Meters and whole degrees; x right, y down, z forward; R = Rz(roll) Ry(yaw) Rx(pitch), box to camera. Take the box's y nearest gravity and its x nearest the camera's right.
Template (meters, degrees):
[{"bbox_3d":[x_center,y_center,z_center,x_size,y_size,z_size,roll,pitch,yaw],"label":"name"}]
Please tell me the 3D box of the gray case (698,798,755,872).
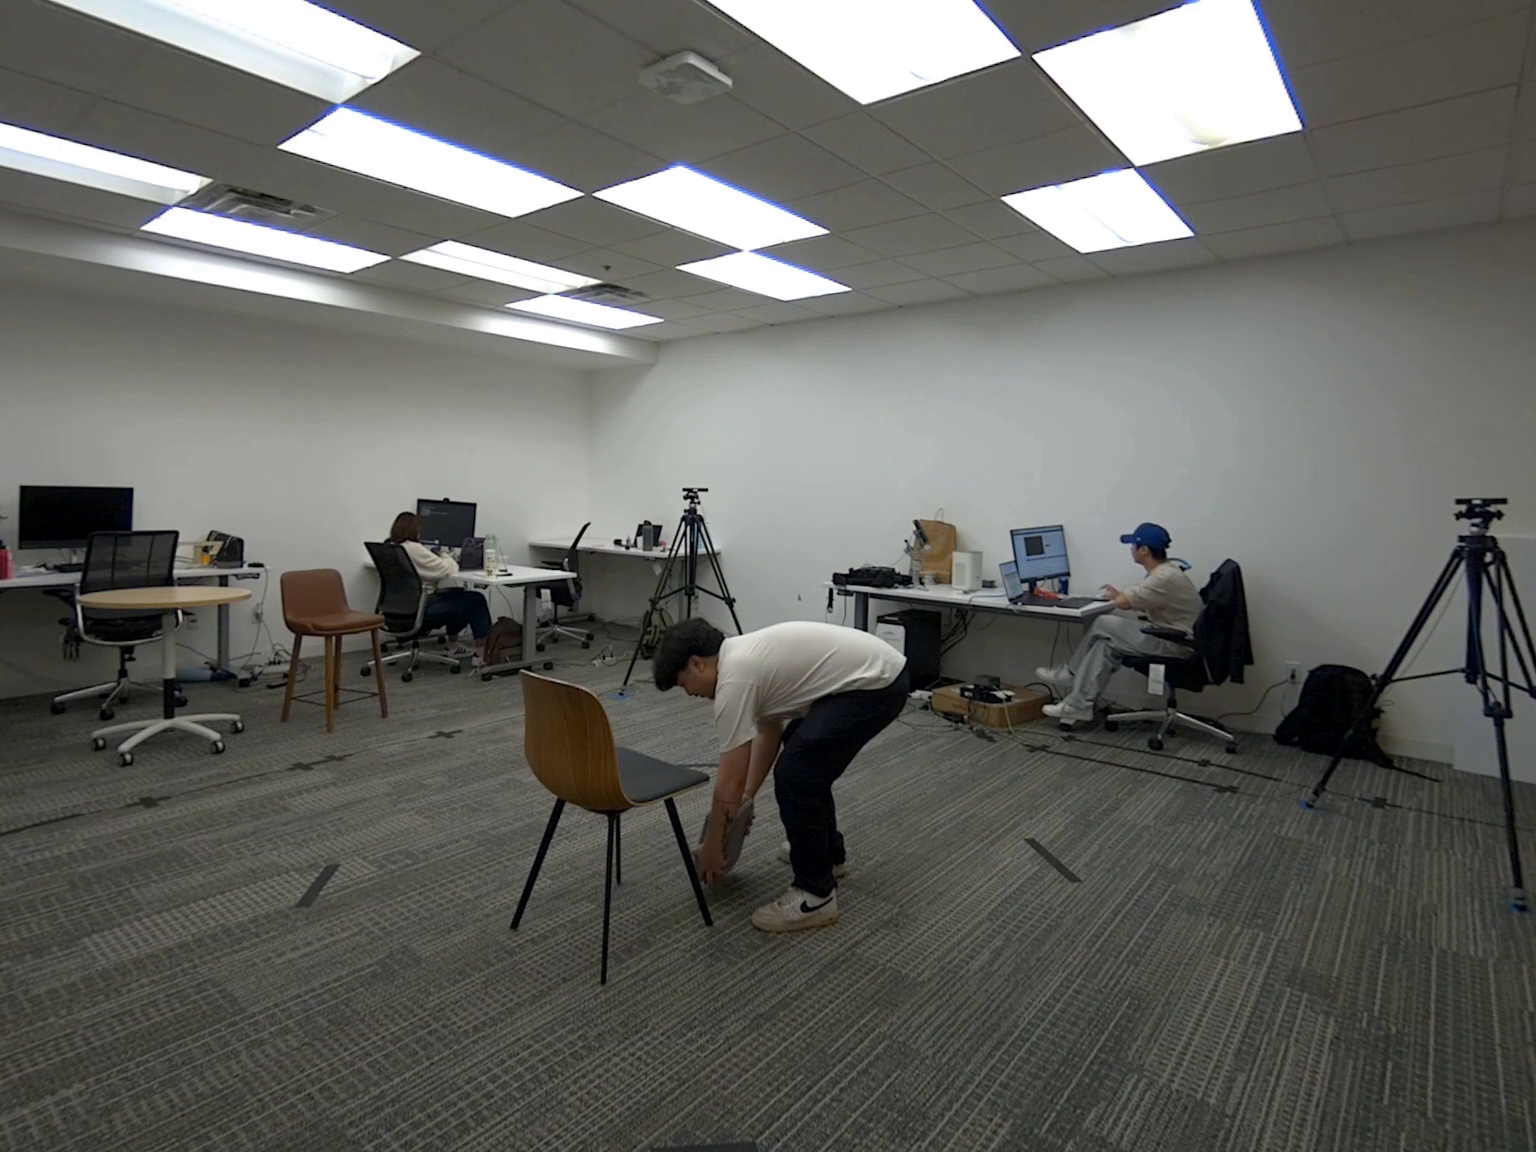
[{"bbox_3d":[-0.164,0.904,2.992,0.106,0.259,0.253,11,7,15],"label":"gray case"}]
